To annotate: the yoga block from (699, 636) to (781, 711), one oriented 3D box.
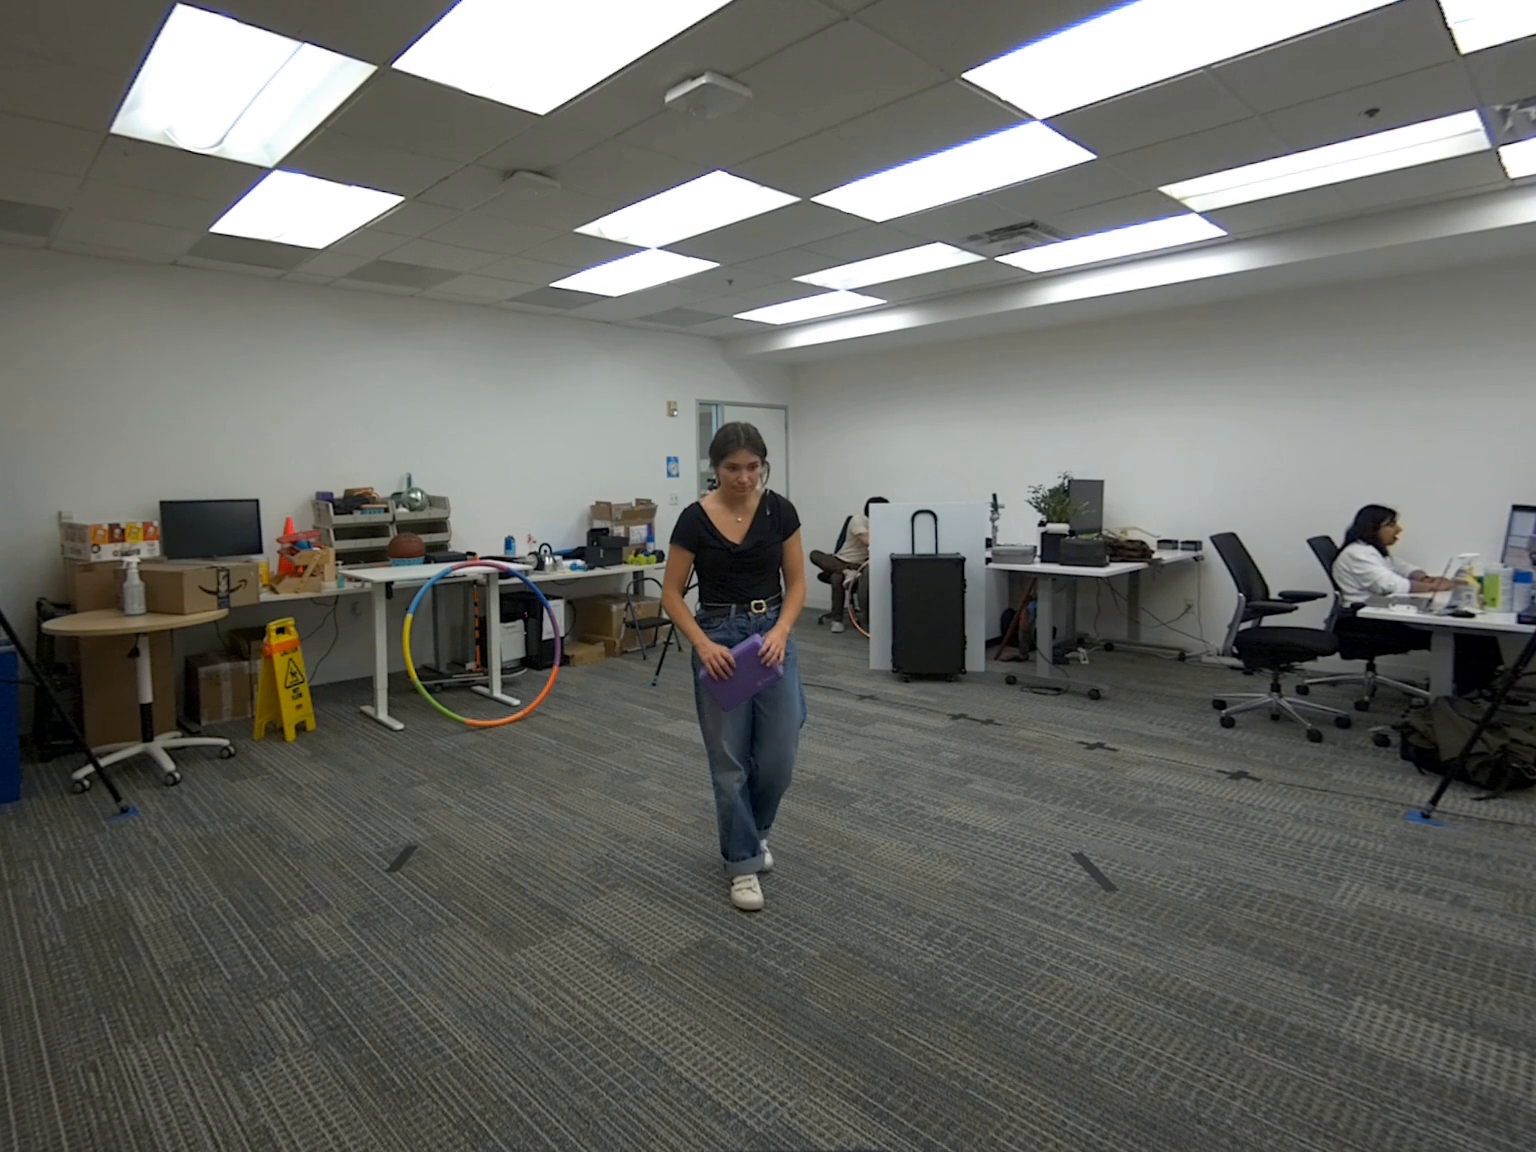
[{"bbox_3d":[-0.087,0.312,2.695,0.230,0.148,0.077,-34,7,15],"label":"yoga block"}]
